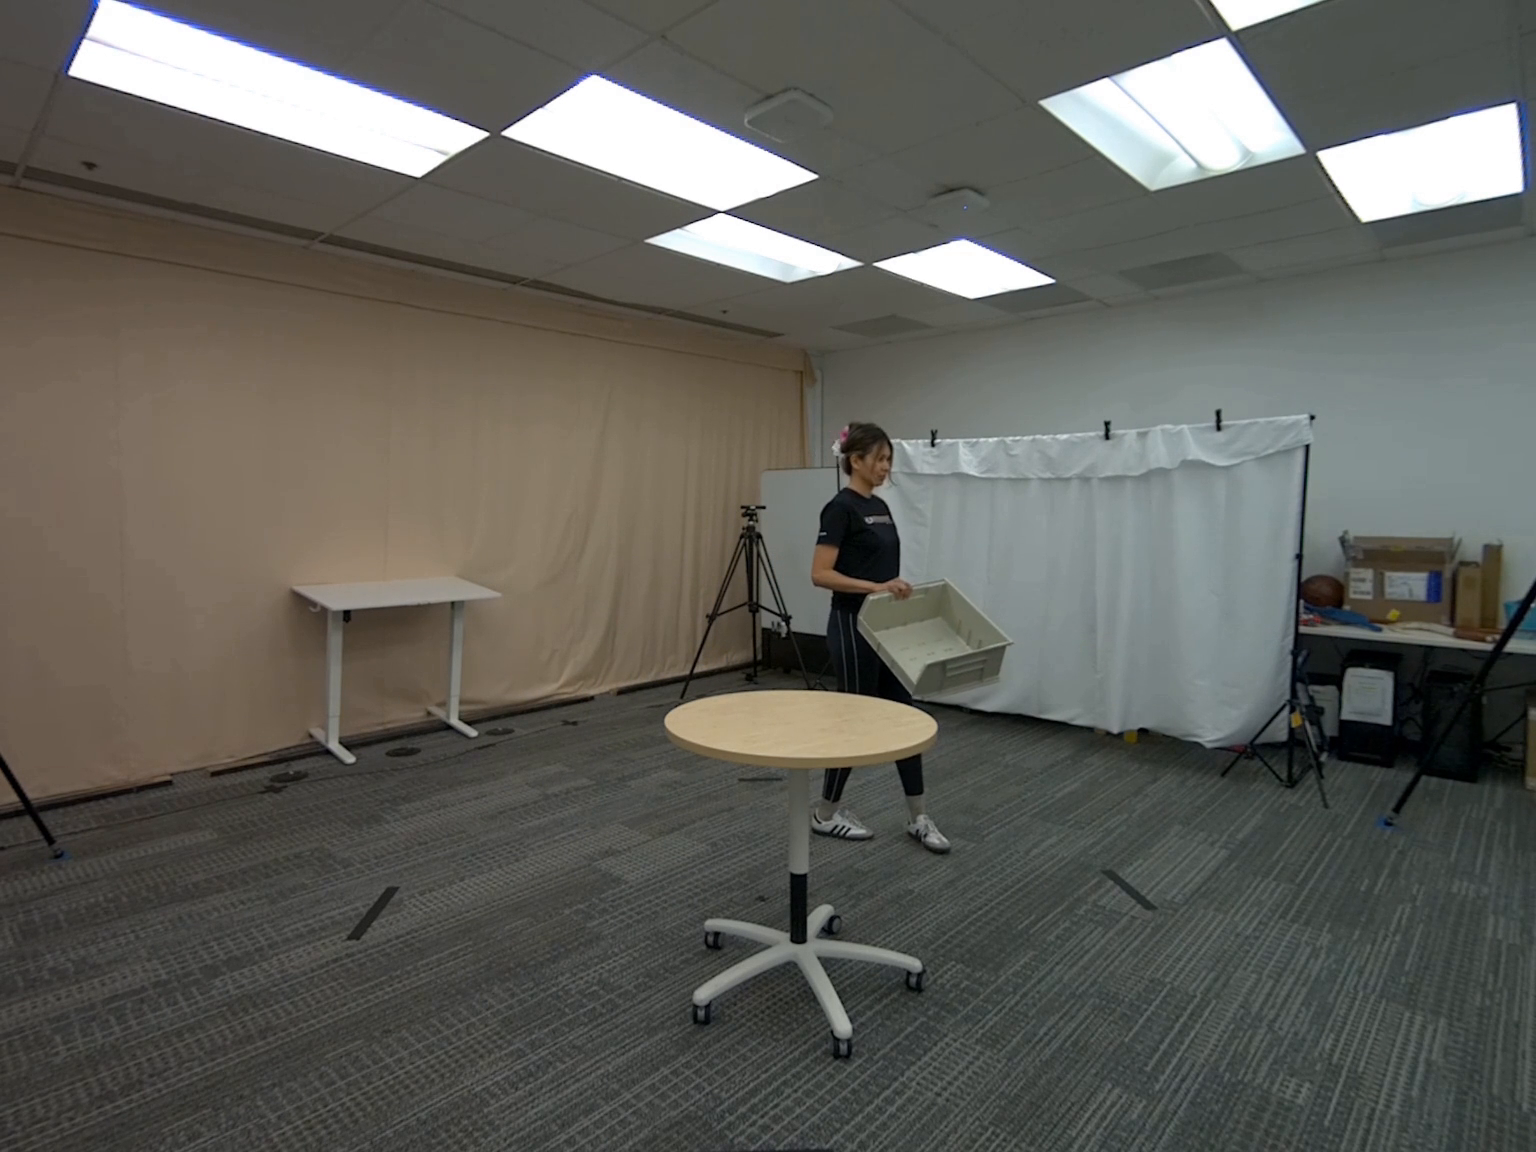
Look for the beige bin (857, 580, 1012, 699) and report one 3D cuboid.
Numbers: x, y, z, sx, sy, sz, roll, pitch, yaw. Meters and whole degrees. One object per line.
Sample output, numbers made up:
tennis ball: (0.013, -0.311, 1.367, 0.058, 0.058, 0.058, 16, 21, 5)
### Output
beige bin: (0.602, 0.224, 3.070, 0.371, 0.186, 0.436, -10, 34, -19)
